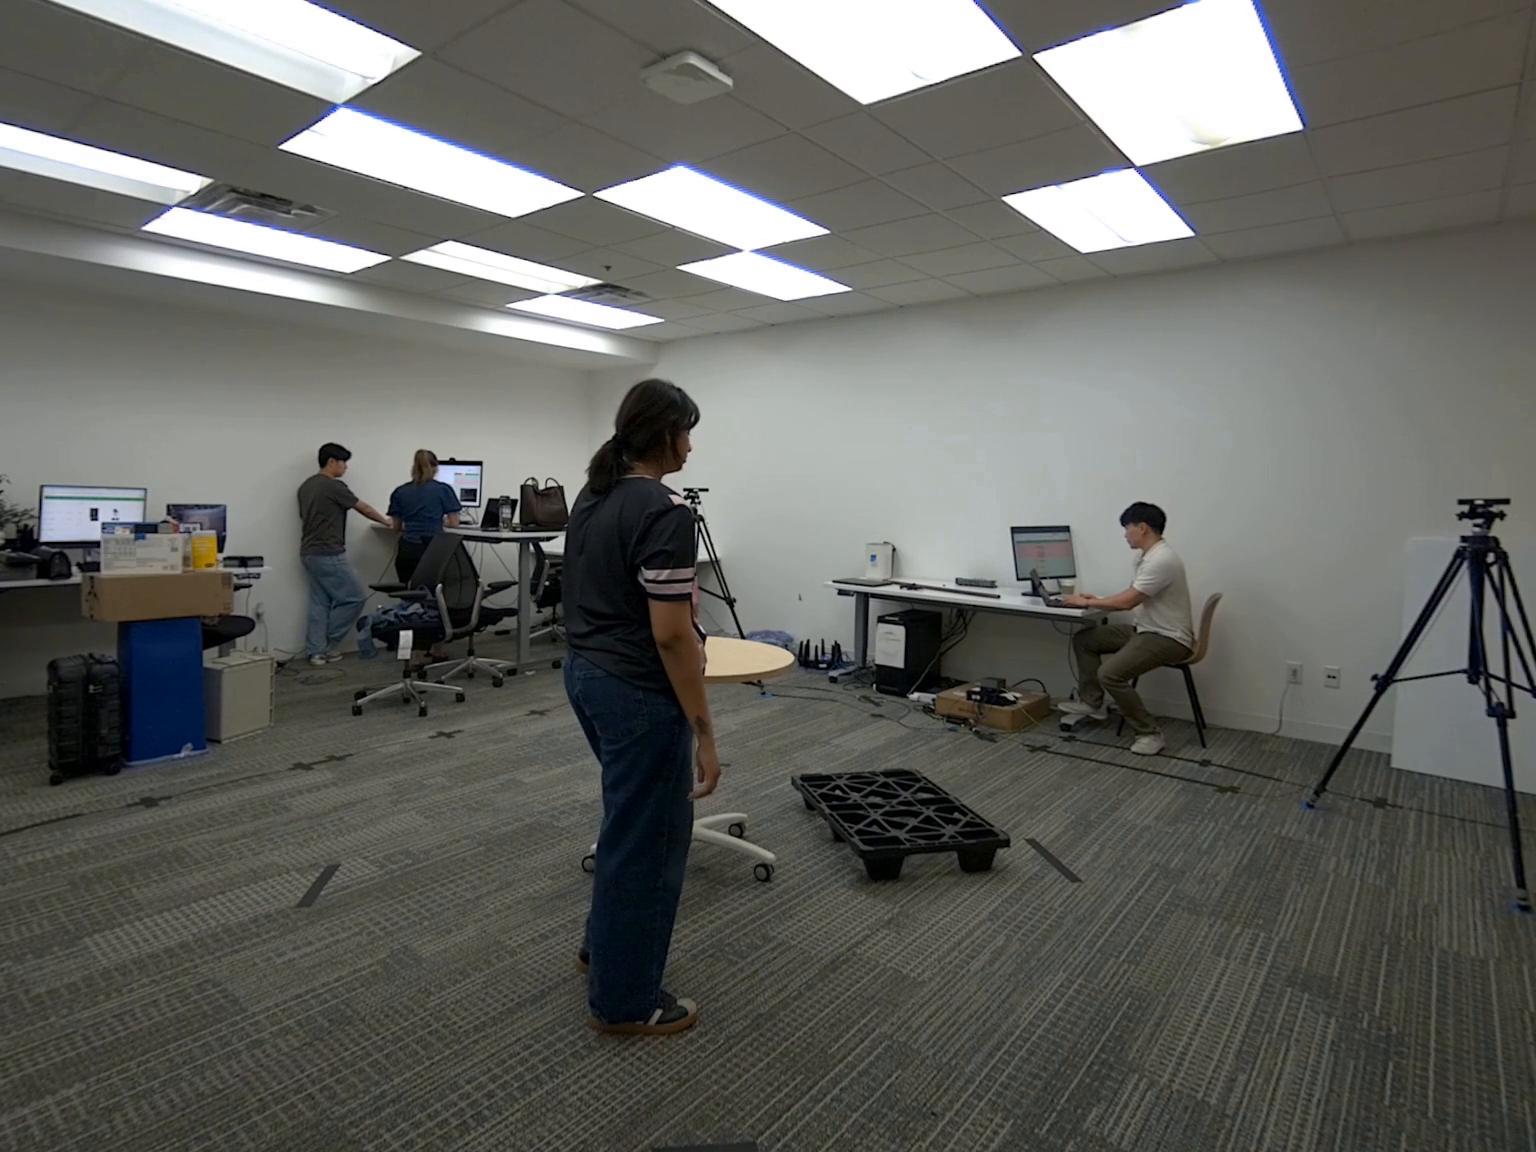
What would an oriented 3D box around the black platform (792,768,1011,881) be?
[{"bbox_3d":[0.488,0.984,3.447,0.596,0.143,0.821,-1,6,-16],"label":"black platform"}]
